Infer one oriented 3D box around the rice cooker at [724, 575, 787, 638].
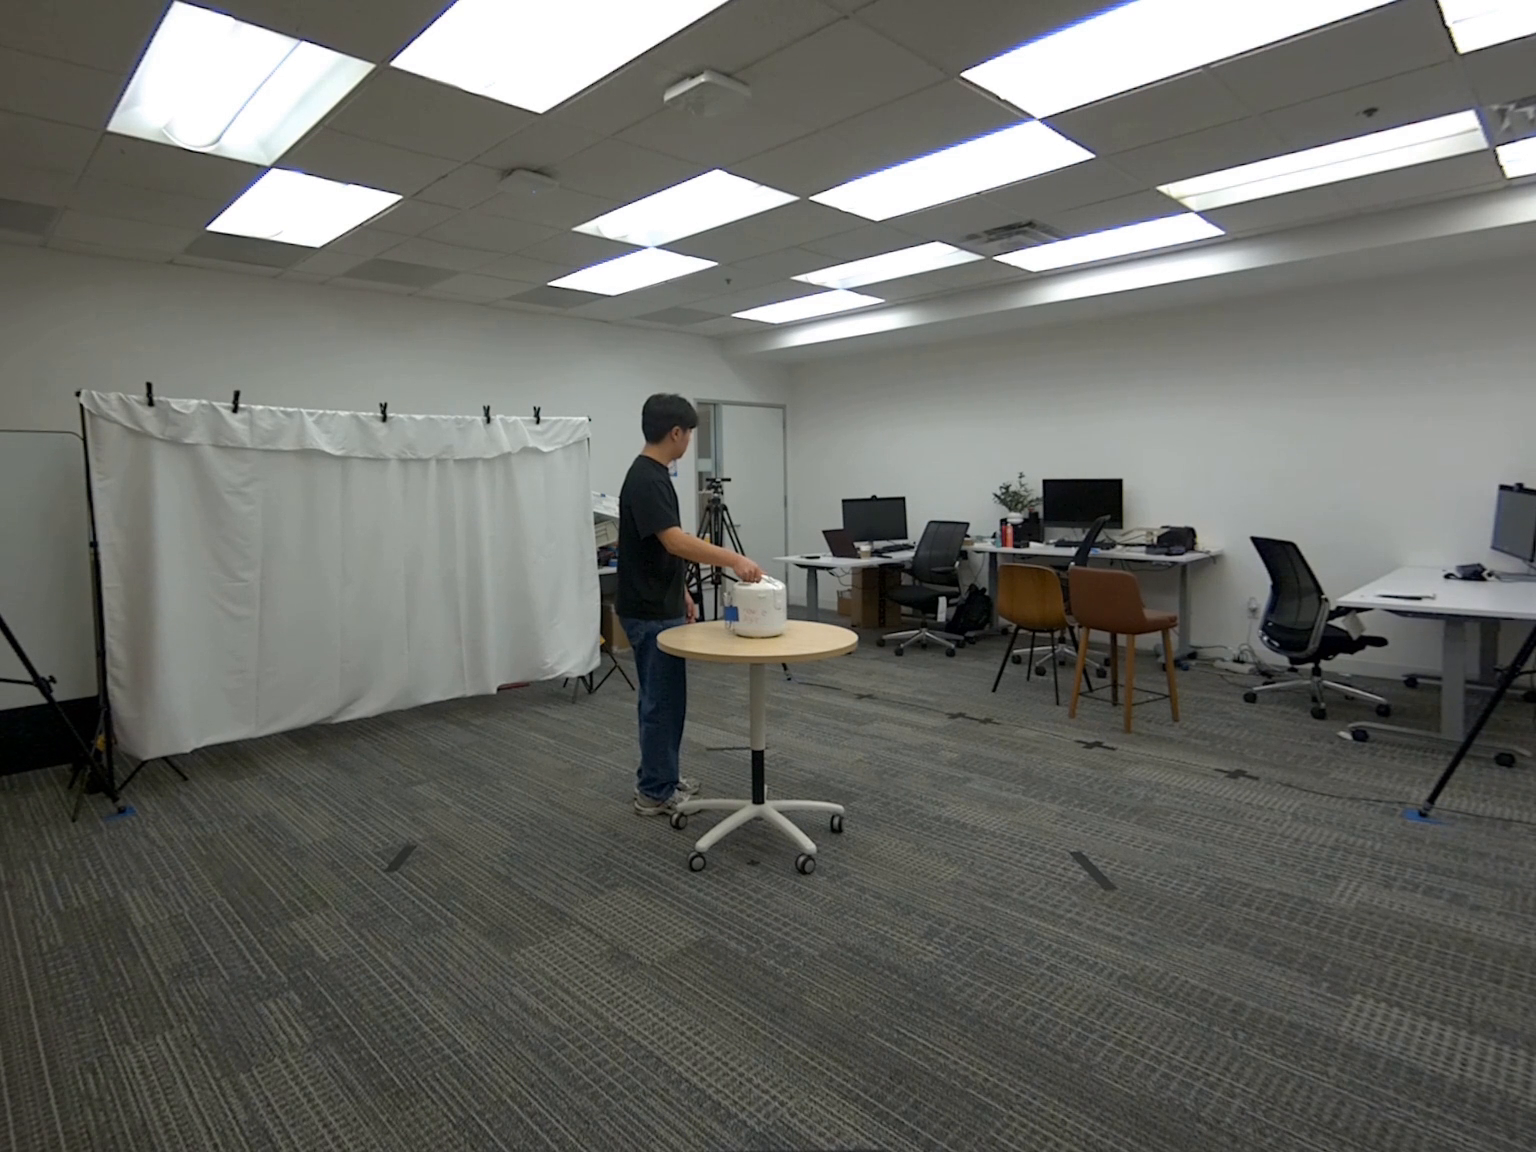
[{"bbox_3d":[-0.032,0.109,3.288,0.212,0.232,0.227,-6,7,-44],"label":"rice cooker"}]
